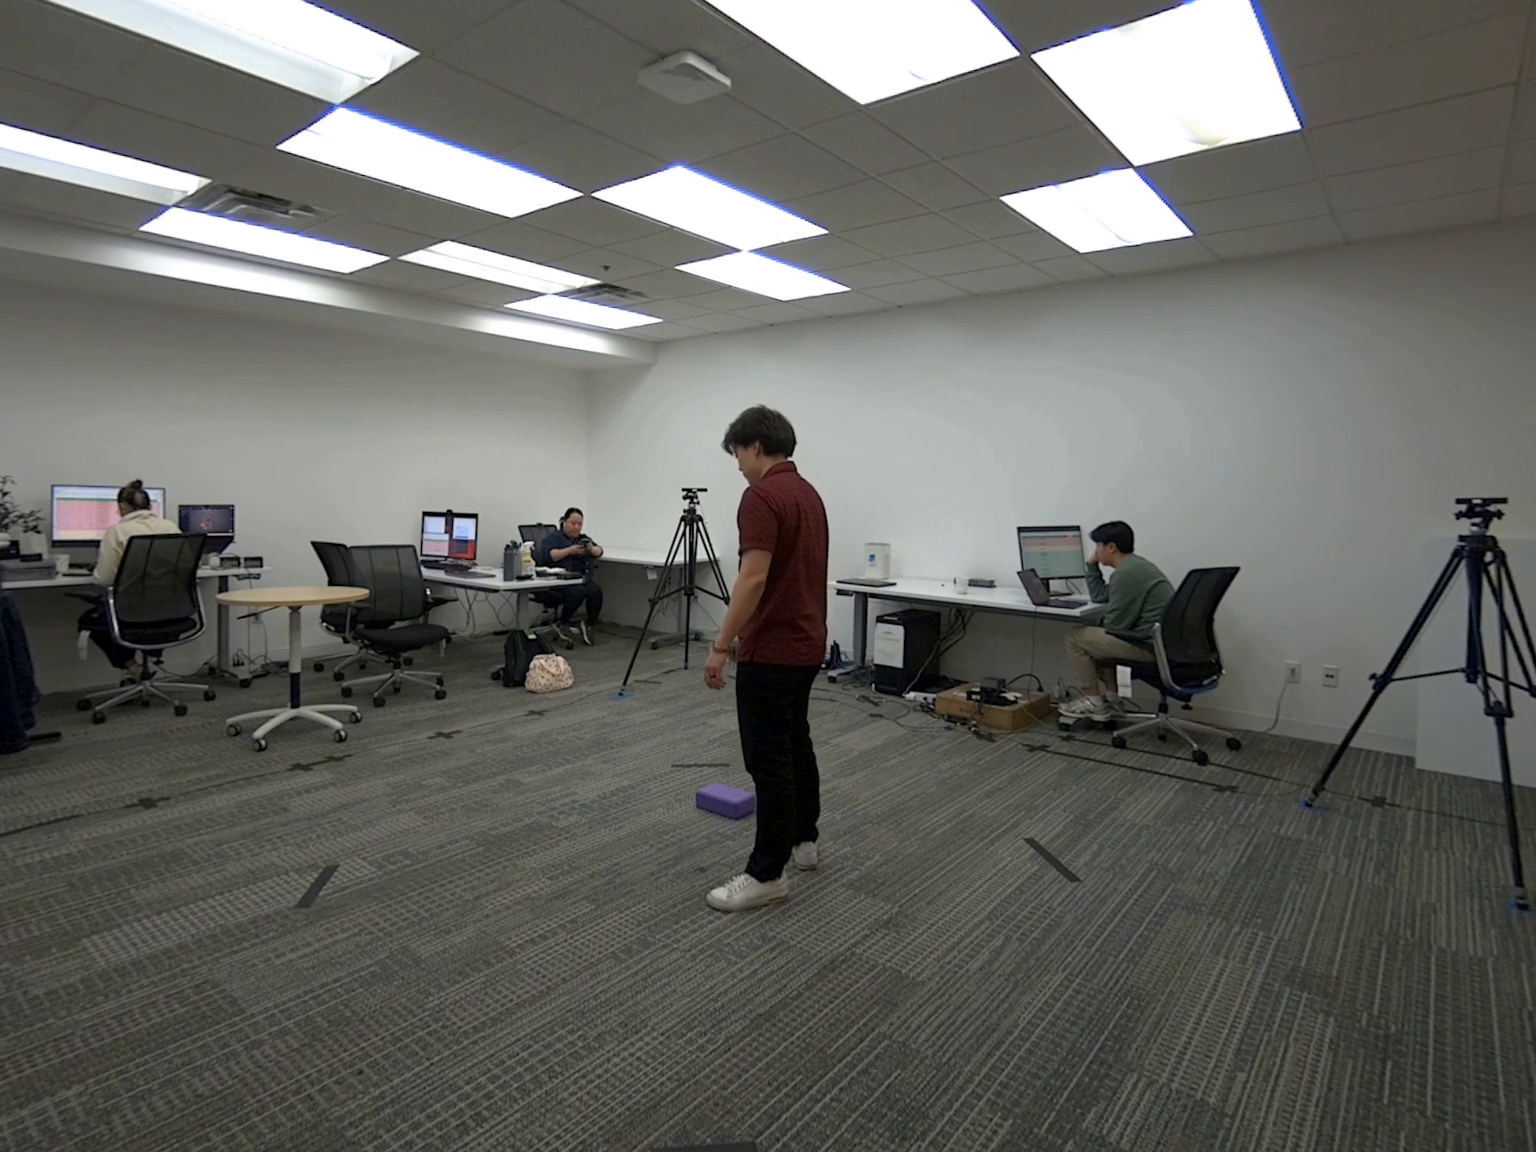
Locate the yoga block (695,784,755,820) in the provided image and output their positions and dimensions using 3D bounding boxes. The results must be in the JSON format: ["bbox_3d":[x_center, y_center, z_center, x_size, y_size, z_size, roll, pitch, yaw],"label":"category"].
[{"bbox_3d":[-0.195,0.974,3.701,0.237,0.076,0.145,5,7,36],"label":"yoga block"}]
